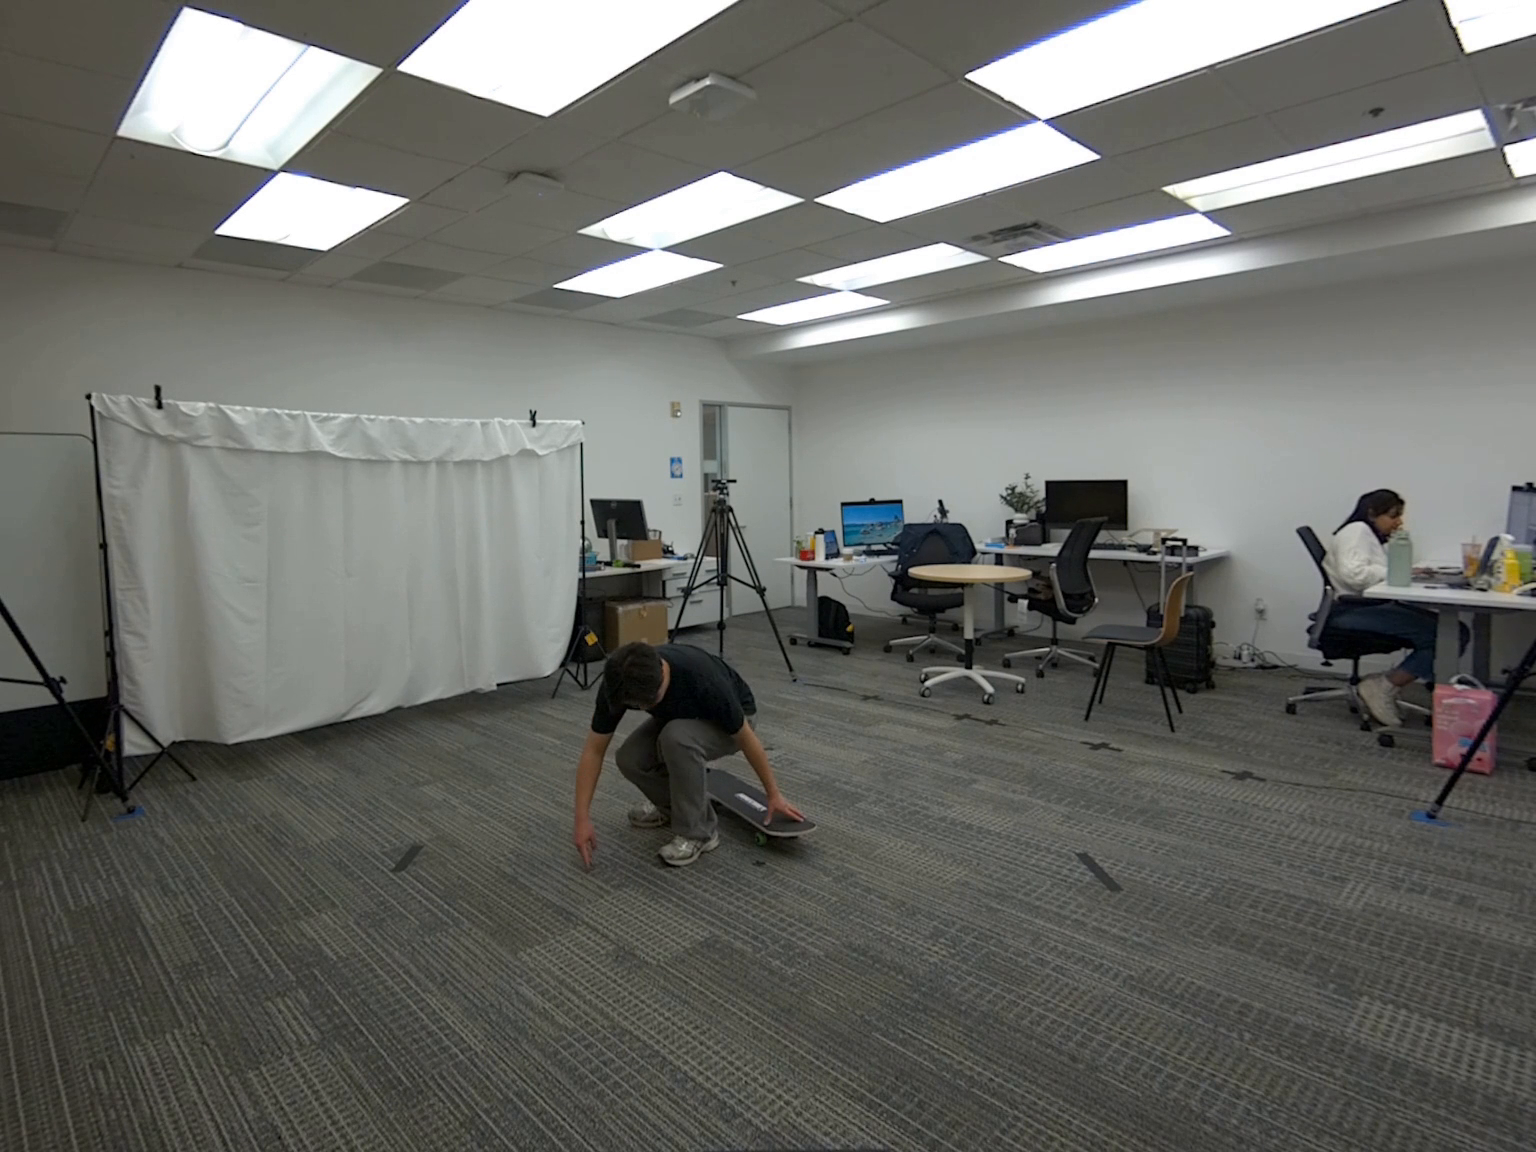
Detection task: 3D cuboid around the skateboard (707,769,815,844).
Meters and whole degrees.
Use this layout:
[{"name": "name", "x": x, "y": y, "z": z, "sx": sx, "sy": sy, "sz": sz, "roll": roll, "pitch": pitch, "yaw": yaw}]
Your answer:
[{"name": "skateboard", "x": -0.066, "y": 0.948, "z": 3.470, "sx": 0.189, "sy": 0.110, "sz": 0.808, "roll": -4, "pitch": 8, "yaw": -32}]
